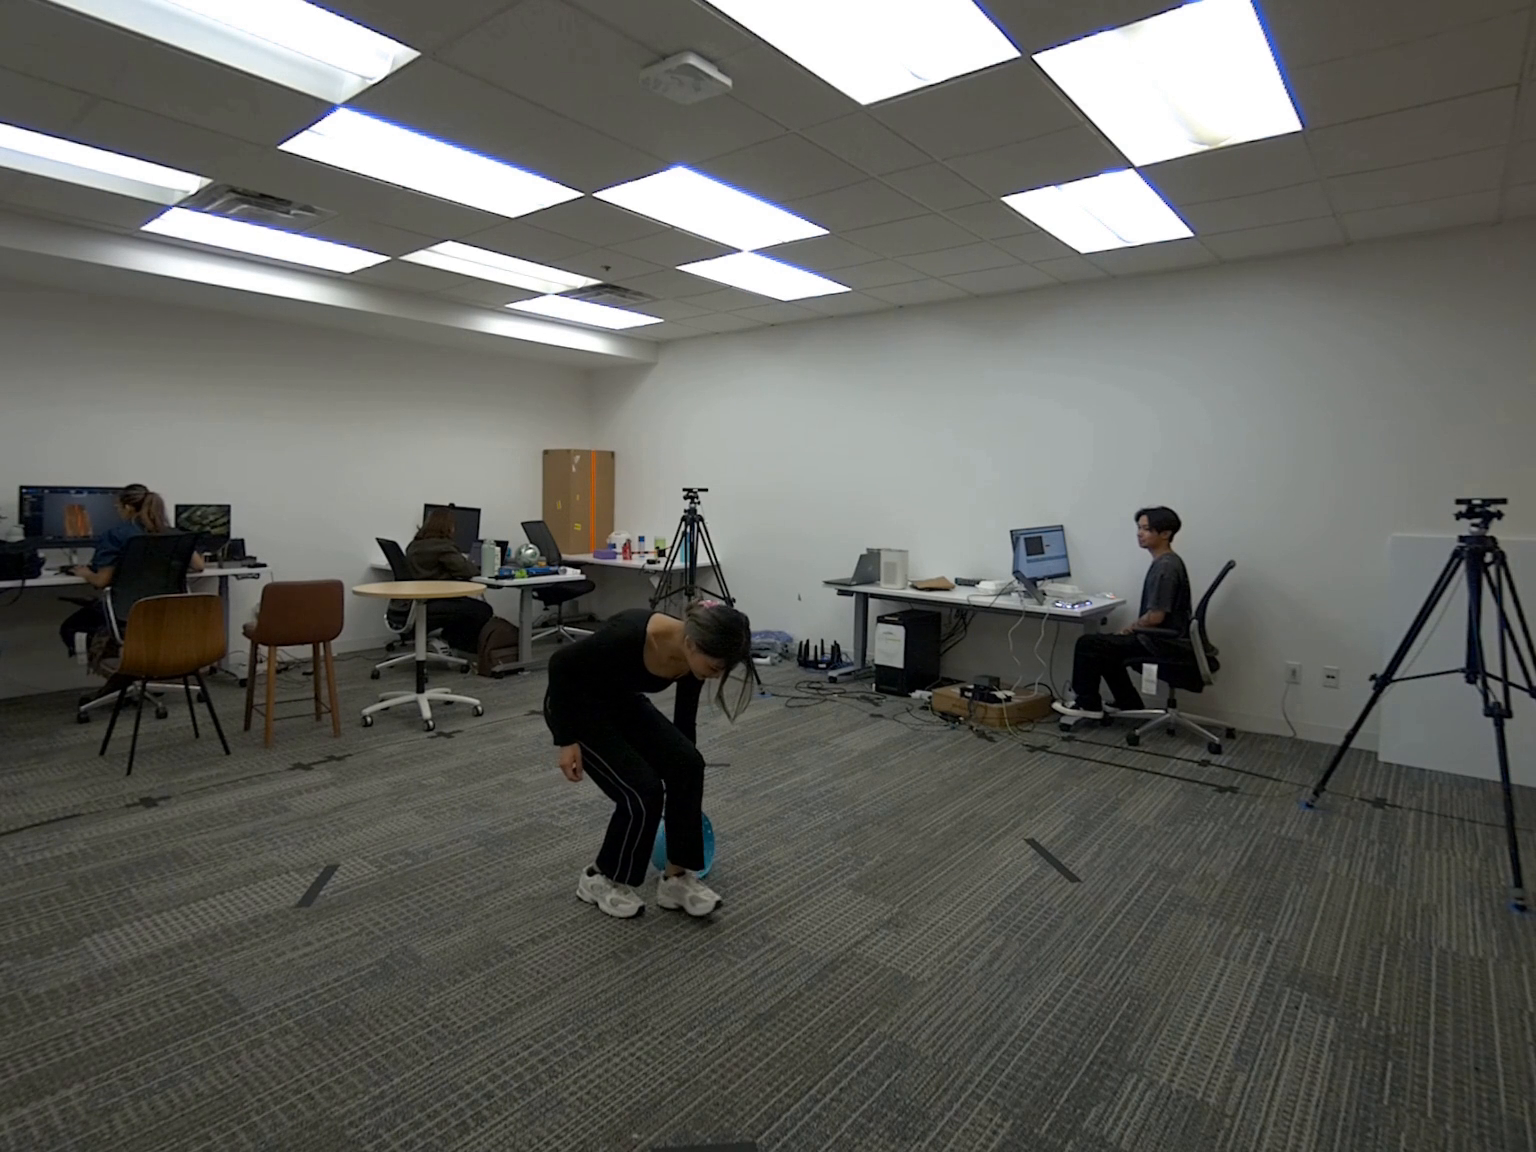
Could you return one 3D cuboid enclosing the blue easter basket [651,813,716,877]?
[{"bbox_3d":[-0.317,0.957,3.073,0.159,0.245,0.237,-14,-5,31],"label":"blue easter basket"}]
